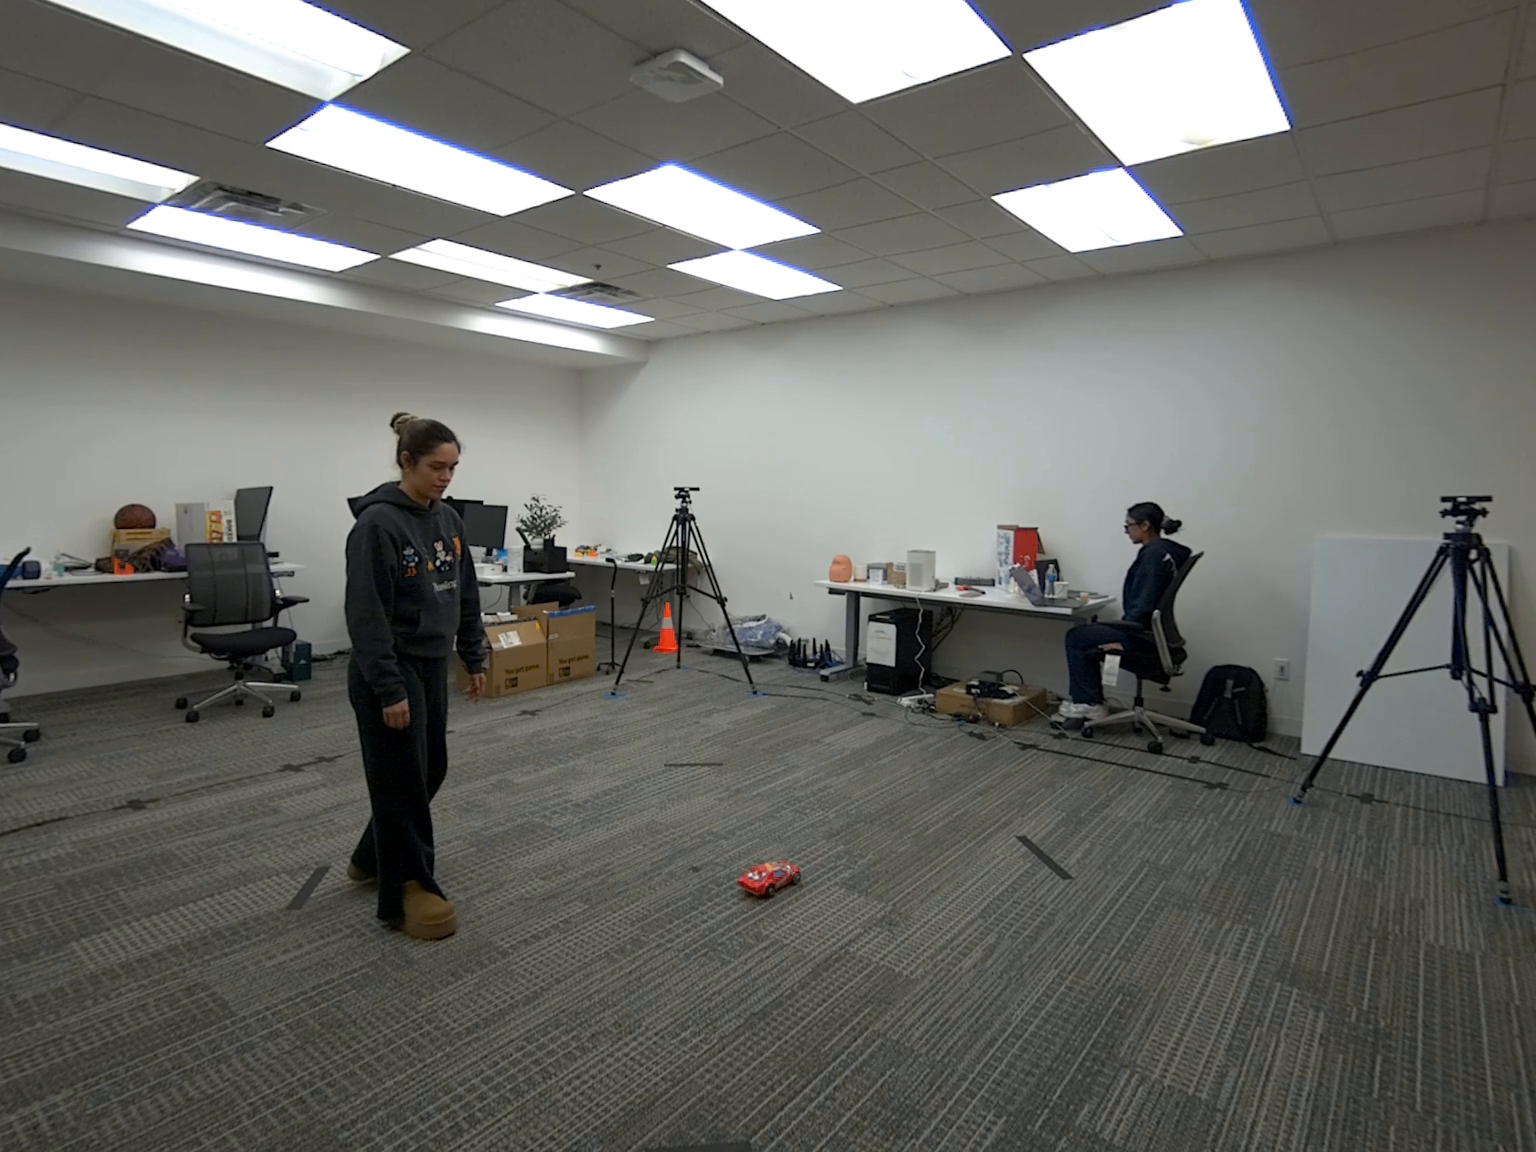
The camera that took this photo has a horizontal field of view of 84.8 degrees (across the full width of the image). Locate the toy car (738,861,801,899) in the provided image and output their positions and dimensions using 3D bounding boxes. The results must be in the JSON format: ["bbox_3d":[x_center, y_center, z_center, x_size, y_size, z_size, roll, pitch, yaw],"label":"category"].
[{"bbox_3d":[0.005,1.056,2.960,0.135,0.083,0.245,6,-3,43],"label":"toy car"}]
